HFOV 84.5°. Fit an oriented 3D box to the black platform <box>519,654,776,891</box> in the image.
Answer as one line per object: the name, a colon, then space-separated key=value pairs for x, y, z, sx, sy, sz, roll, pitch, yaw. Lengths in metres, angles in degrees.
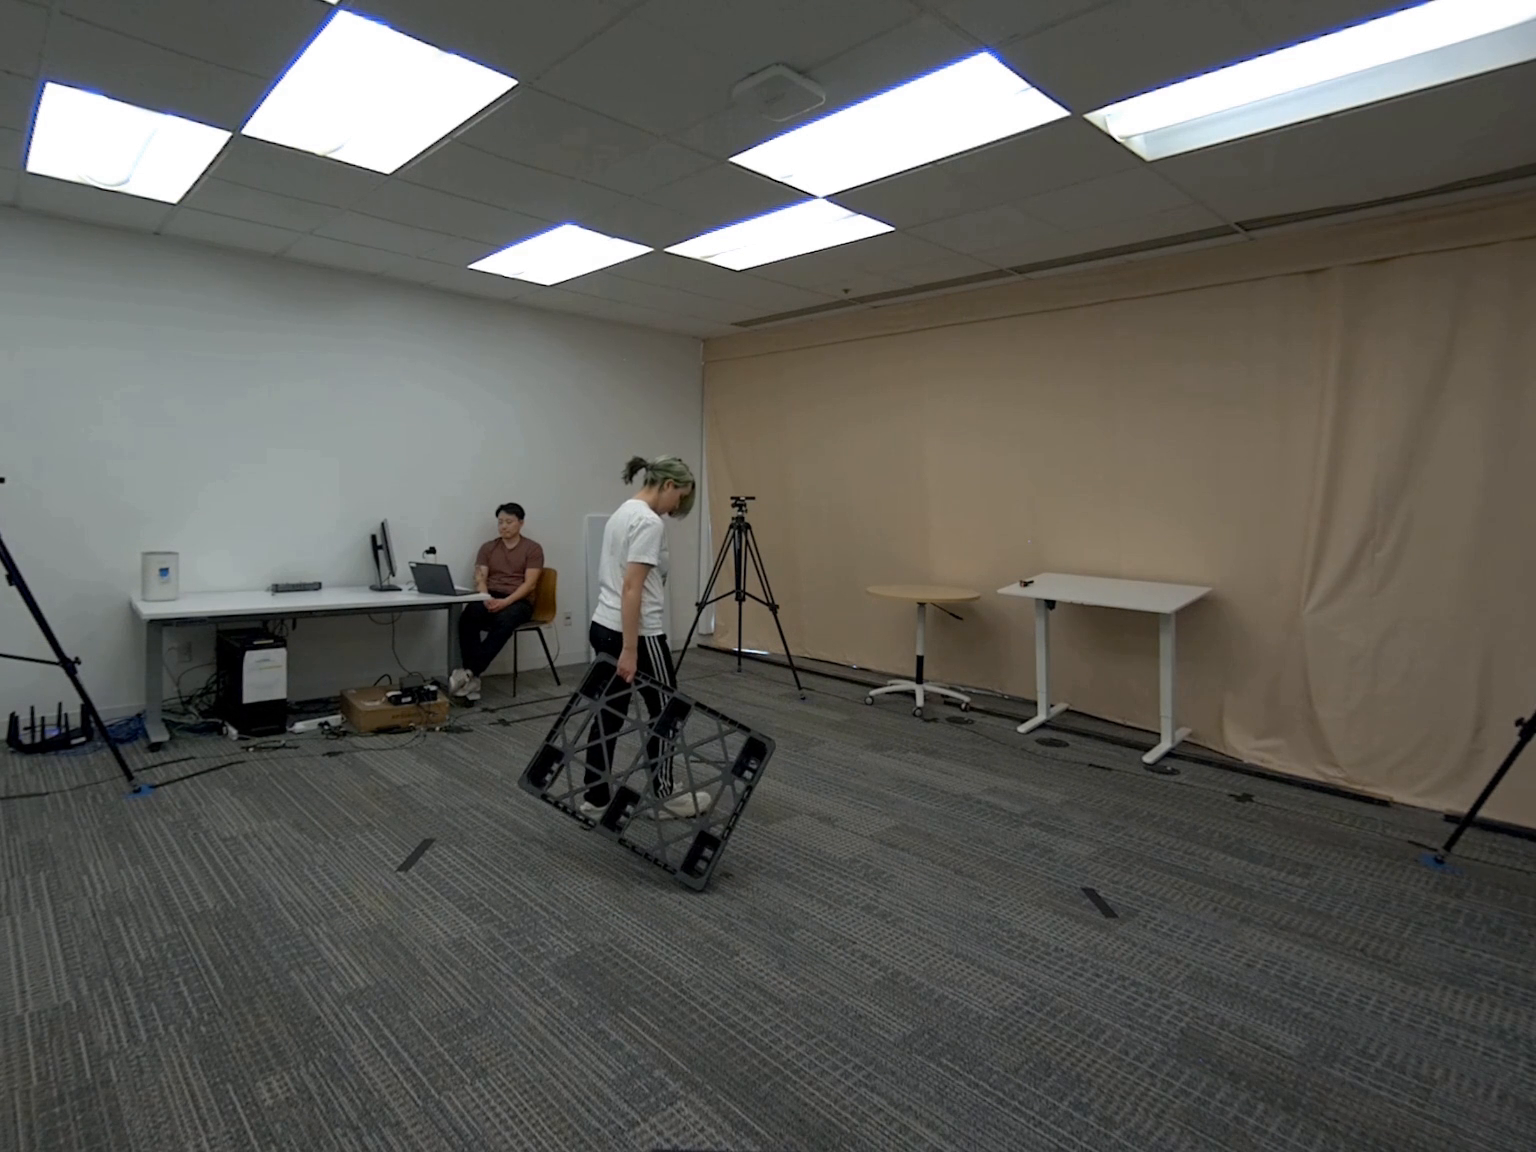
black platform: x=-0.456 y=0.738 z=3.215 sx=0.818 sy=0.608 sz=0.140 roll=23 pitch=-24 yaw=14
